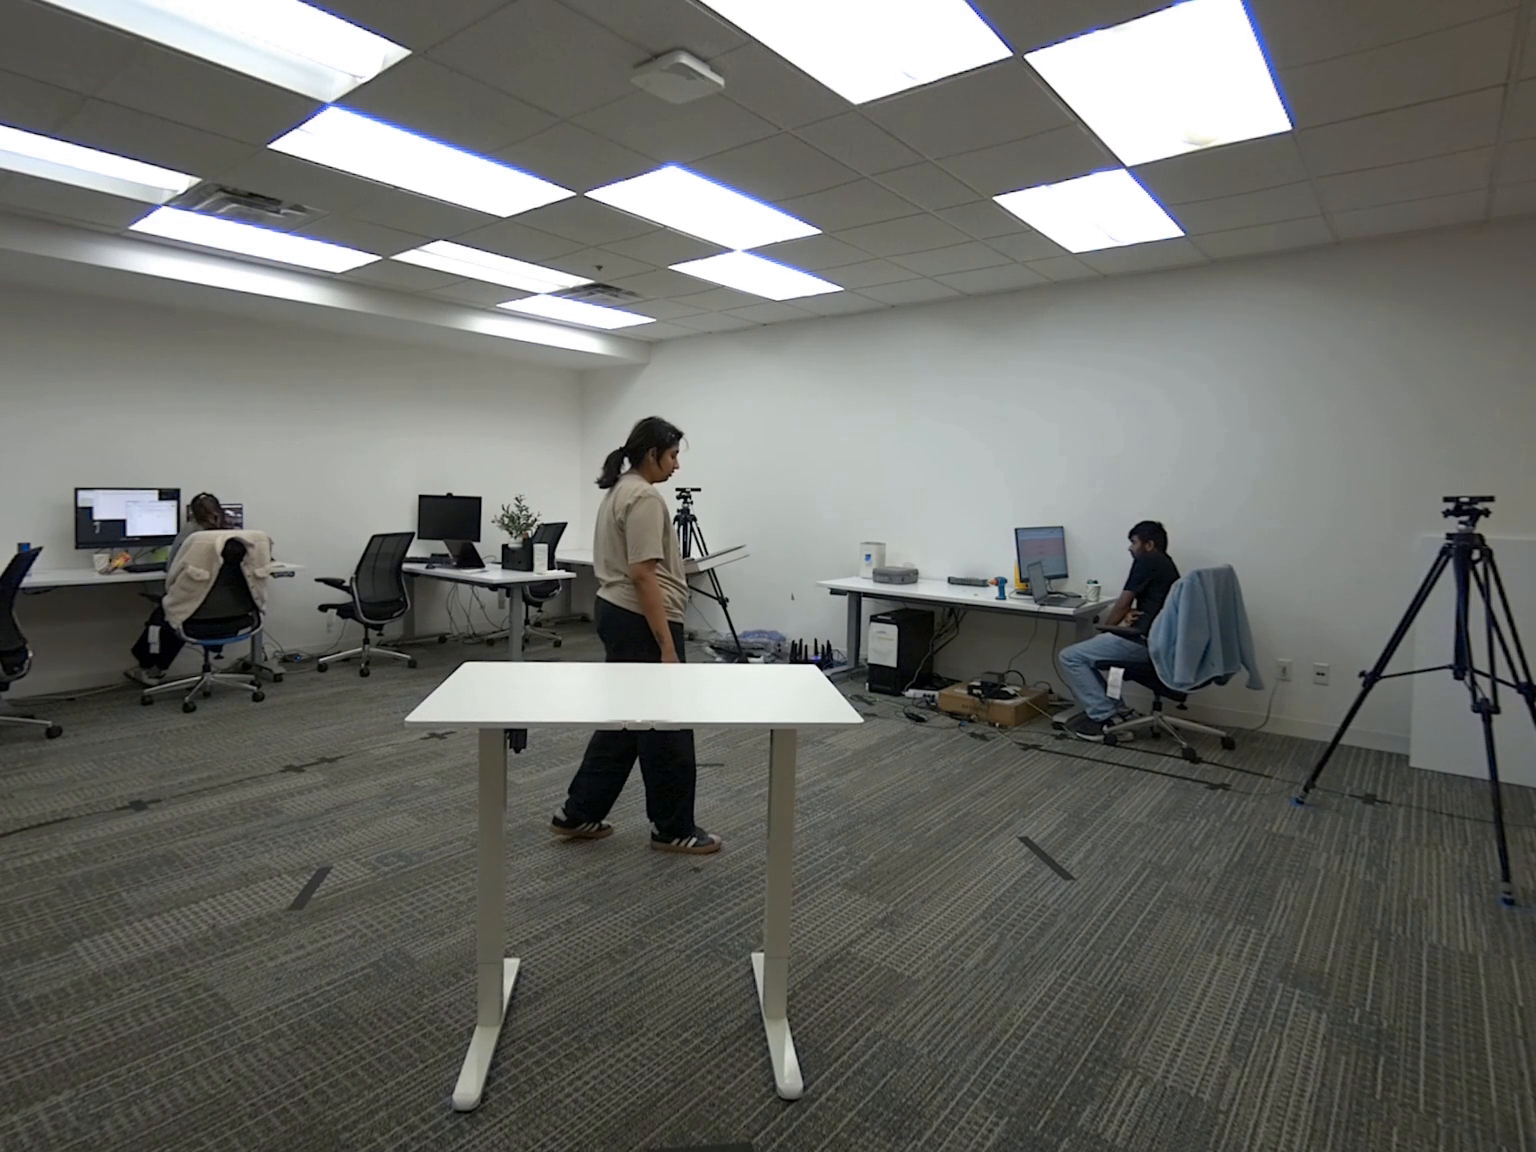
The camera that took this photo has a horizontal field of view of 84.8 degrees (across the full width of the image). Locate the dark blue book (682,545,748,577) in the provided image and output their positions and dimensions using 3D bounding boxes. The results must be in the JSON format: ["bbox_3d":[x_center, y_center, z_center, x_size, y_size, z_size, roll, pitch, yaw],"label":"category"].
[{"bbox_3d":[-0.223,-0.069,3.441,0.240,0.045,0.167,-19,8,-30],"label":"dark blue book"}]
